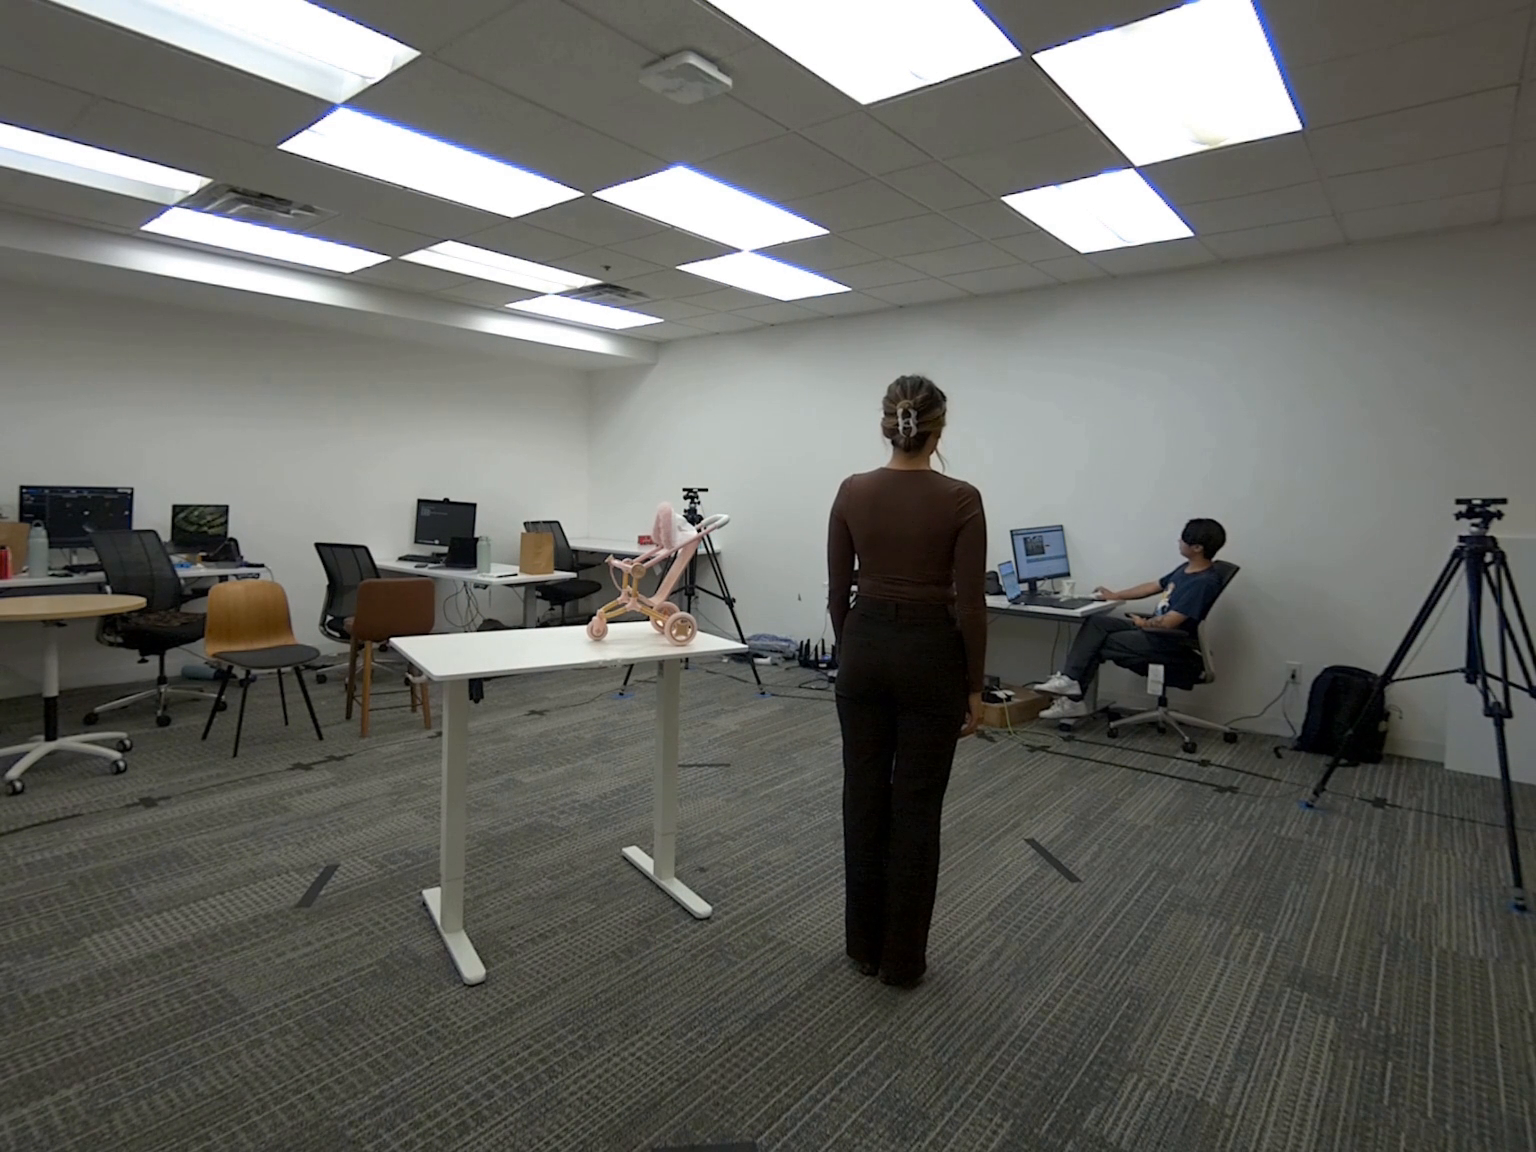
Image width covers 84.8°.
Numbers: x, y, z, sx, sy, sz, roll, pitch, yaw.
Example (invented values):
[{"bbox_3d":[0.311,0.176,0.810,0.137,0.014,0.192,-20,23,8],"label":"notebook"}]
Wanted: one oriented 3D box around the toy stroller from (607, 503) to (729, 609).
[{"bbox_3d":[-0.389,-0.009,2.843,0.336,0.535,0.286,19,-1,-13],"label":"toy stroller"}]
